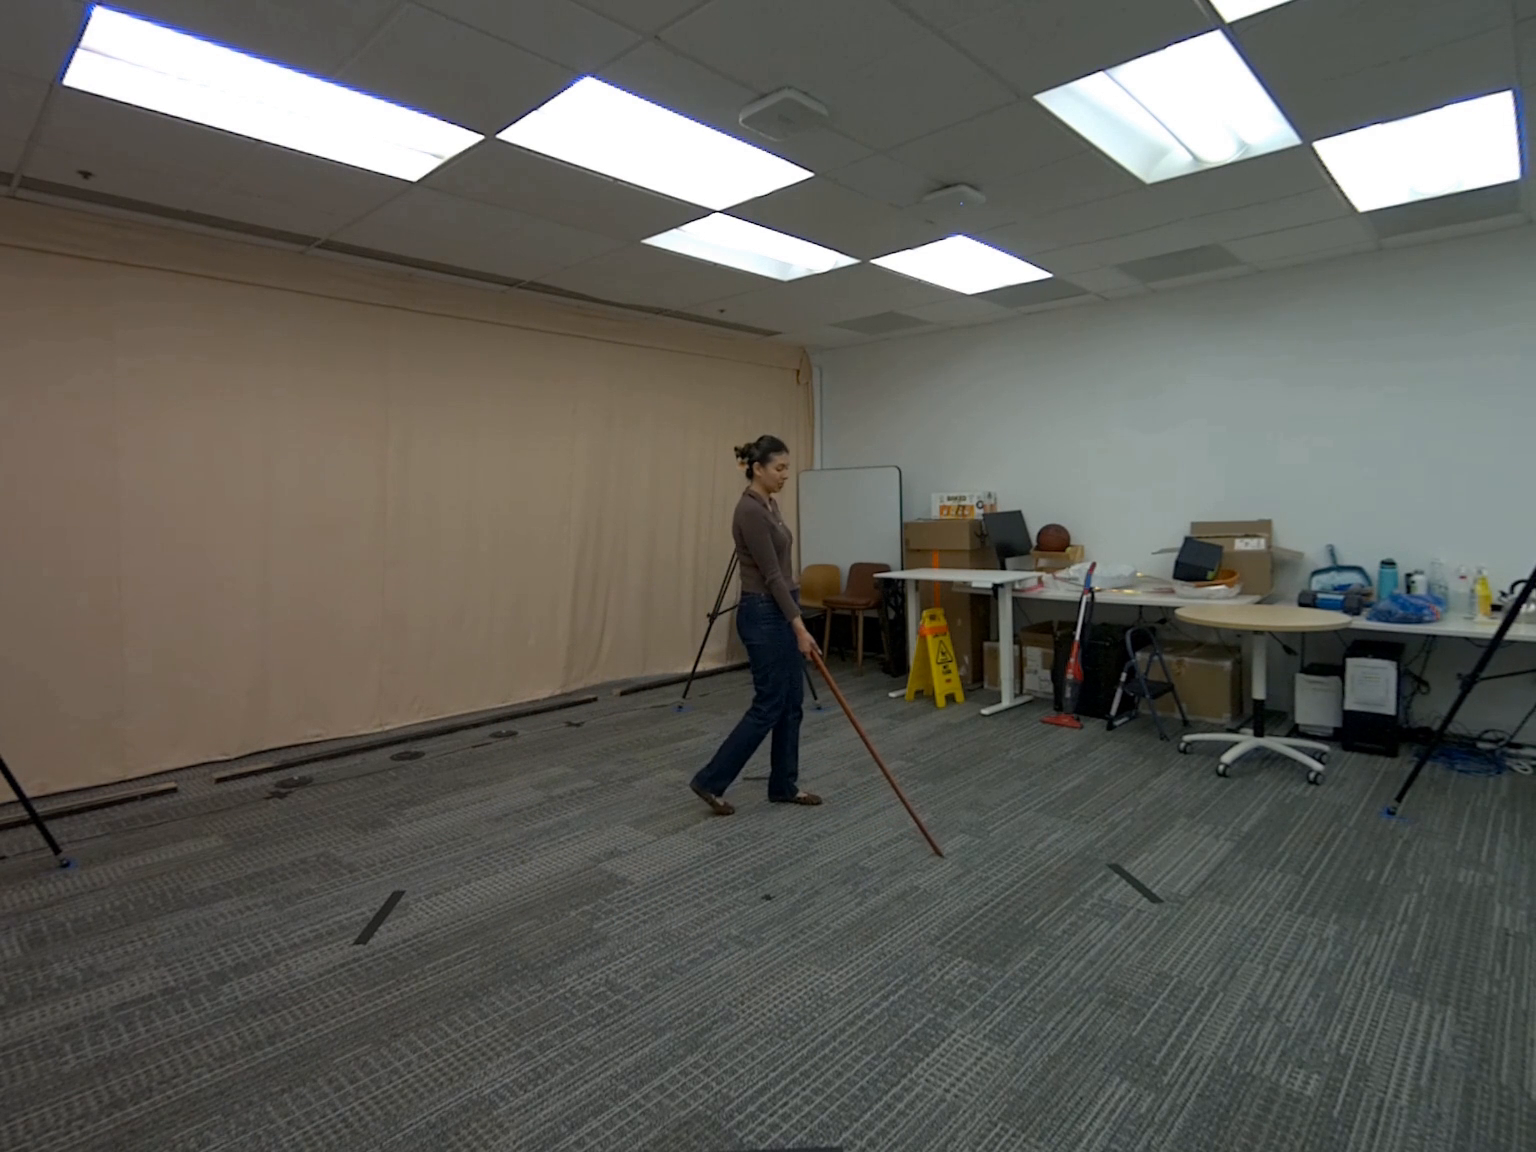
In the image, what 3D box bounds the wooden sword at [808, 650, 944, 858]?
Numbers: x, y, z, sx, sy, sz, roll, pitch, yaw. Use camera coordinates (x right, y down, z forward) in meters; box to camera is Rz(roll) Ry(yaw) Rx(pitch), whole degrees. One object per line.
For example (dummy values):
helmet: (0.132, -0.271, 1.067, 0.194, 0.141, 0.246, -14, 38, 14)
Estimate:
wooden sword: (0.430, 0.705, 3.503, 0.024, 1.048, 0.050, -34, -21, 0)
